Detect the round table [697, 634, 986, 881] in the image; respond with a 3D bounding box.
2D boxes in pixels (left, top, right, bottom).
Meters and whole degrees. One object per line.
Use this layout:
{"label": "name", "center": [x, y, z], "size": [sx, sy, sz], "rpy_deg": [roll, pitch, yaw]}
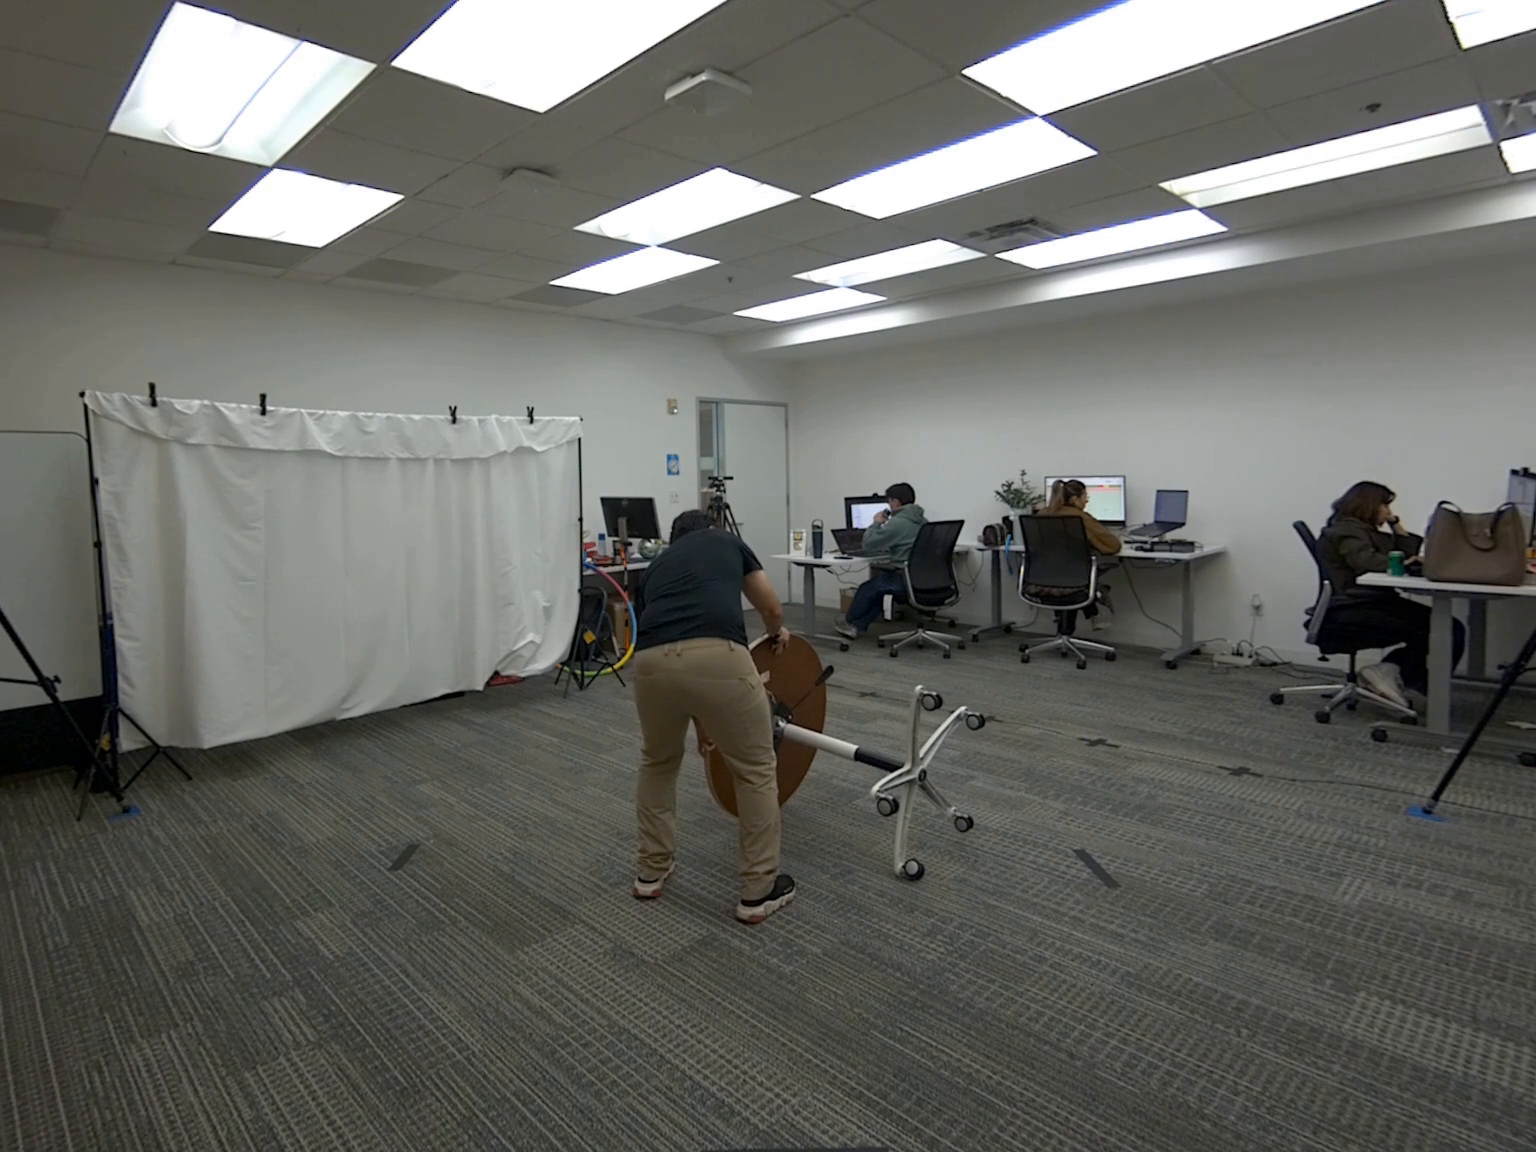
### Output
{"label": "round table", "center": [0.312, 0.654, 3.244], "size": [0.812, 0.780, 0.765], "rpy_deg": [9, 10, 39]}
